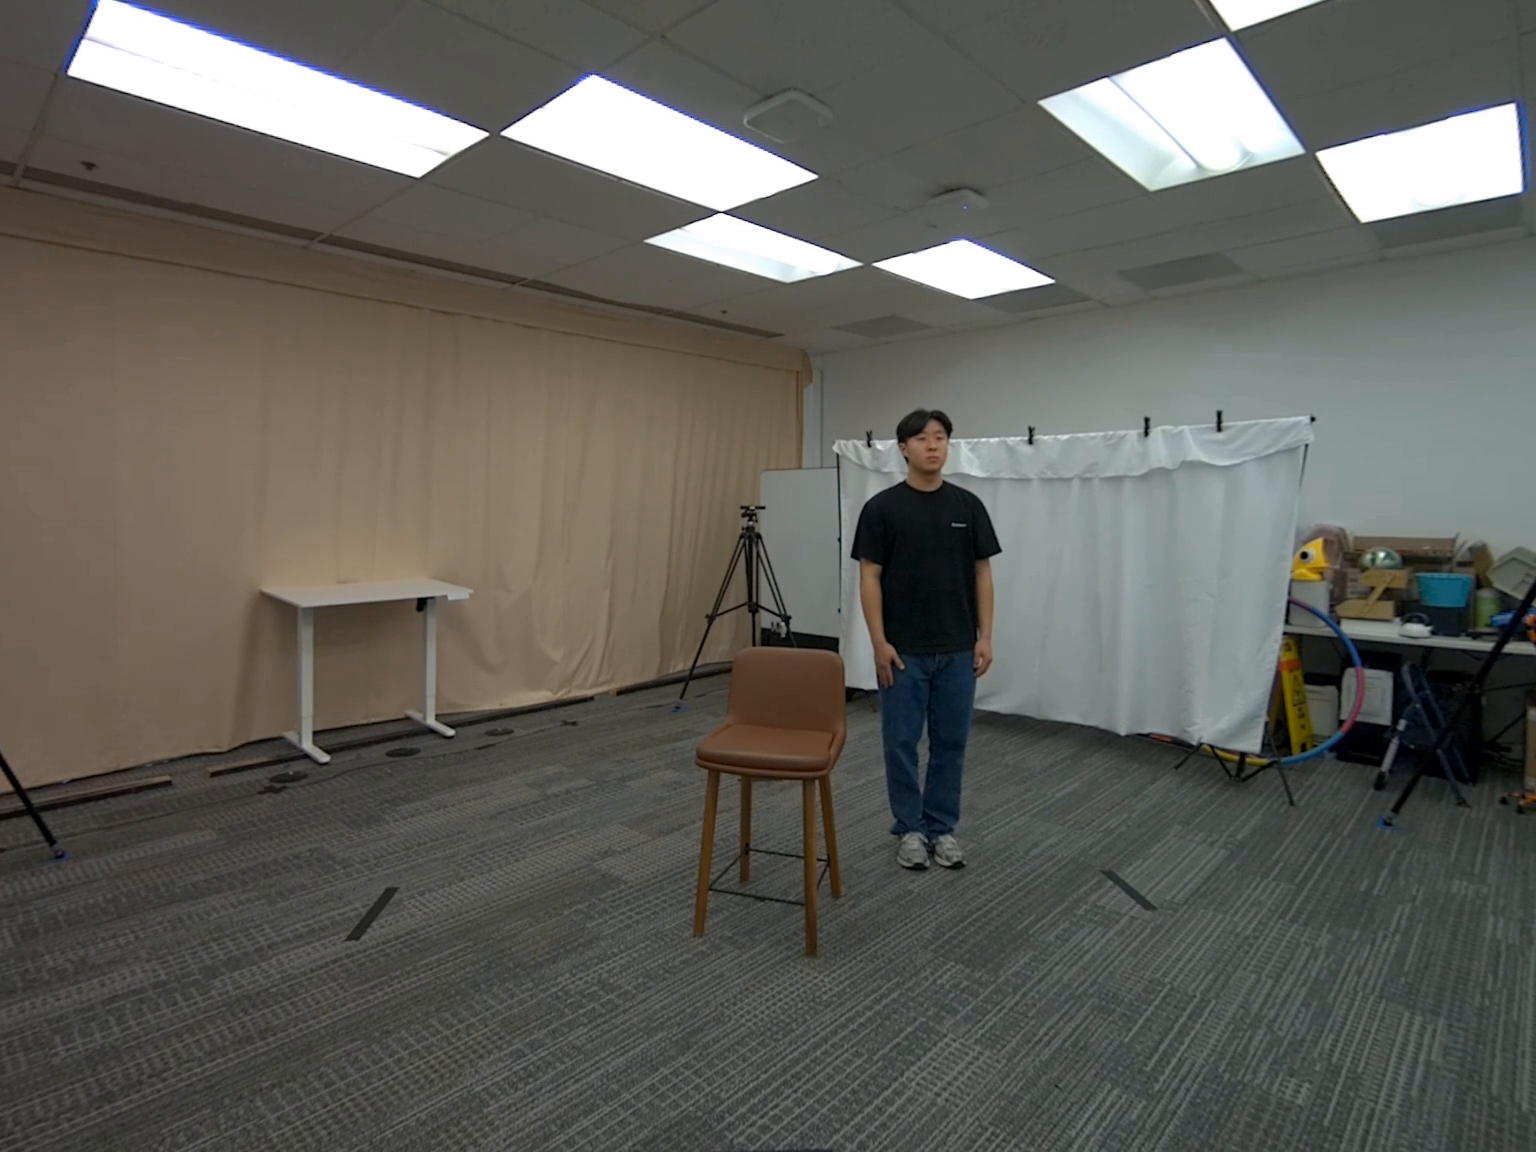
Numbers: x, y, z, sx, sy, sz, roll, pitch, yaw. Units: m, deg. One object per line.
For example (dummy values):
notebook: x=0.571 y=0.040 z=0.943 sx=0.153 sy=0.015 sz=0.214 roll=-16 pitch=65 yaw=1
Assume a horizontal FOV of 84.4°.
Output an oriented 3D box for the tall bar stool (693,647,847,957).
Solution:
tall bar stool: x=0.025 y=0.722 z=2.849 sx=0.467 sy=0.889 sz=0.458 roll=2 pitch=2 yaw=20
